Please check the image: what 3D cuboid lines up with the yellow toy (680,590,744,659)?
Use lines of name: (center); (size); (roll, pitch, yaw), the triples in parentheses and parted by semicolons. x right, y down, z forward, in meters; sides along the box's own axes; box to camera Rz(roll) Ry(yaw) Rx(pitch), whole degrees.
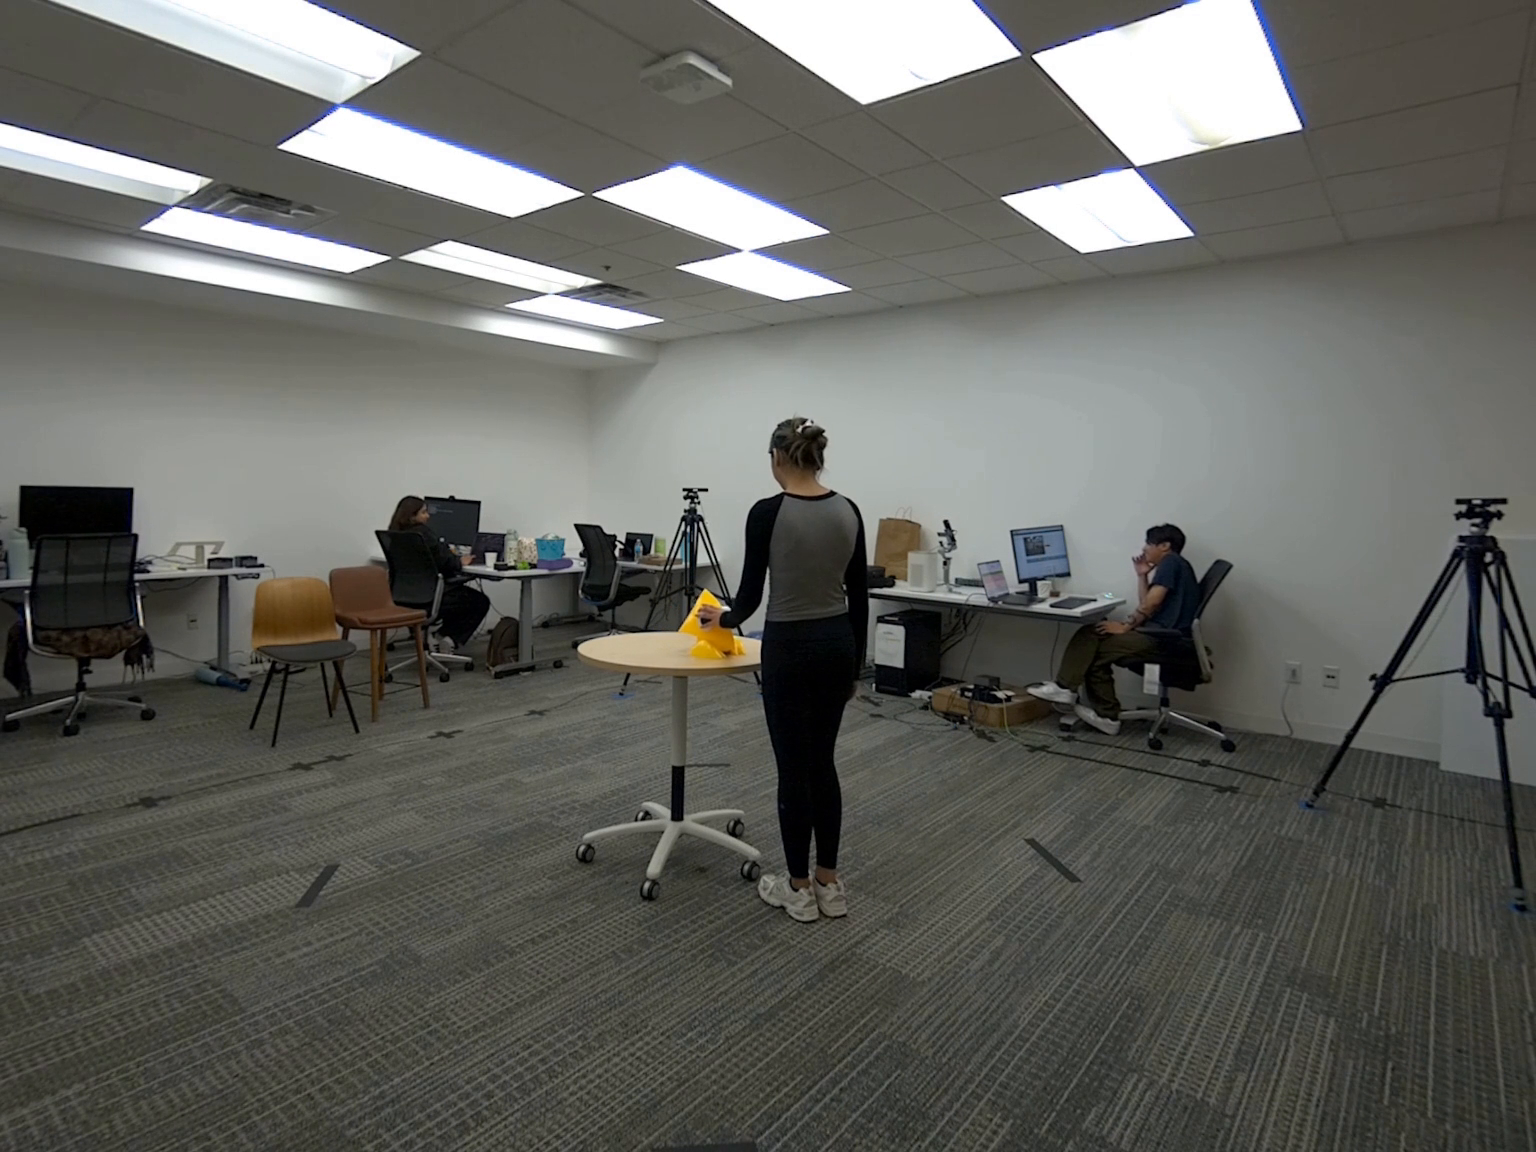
yellow toy: (-0.198, 0.166, 3.092); (0.199, 0.230, 0.198); (4, 5, 42)
